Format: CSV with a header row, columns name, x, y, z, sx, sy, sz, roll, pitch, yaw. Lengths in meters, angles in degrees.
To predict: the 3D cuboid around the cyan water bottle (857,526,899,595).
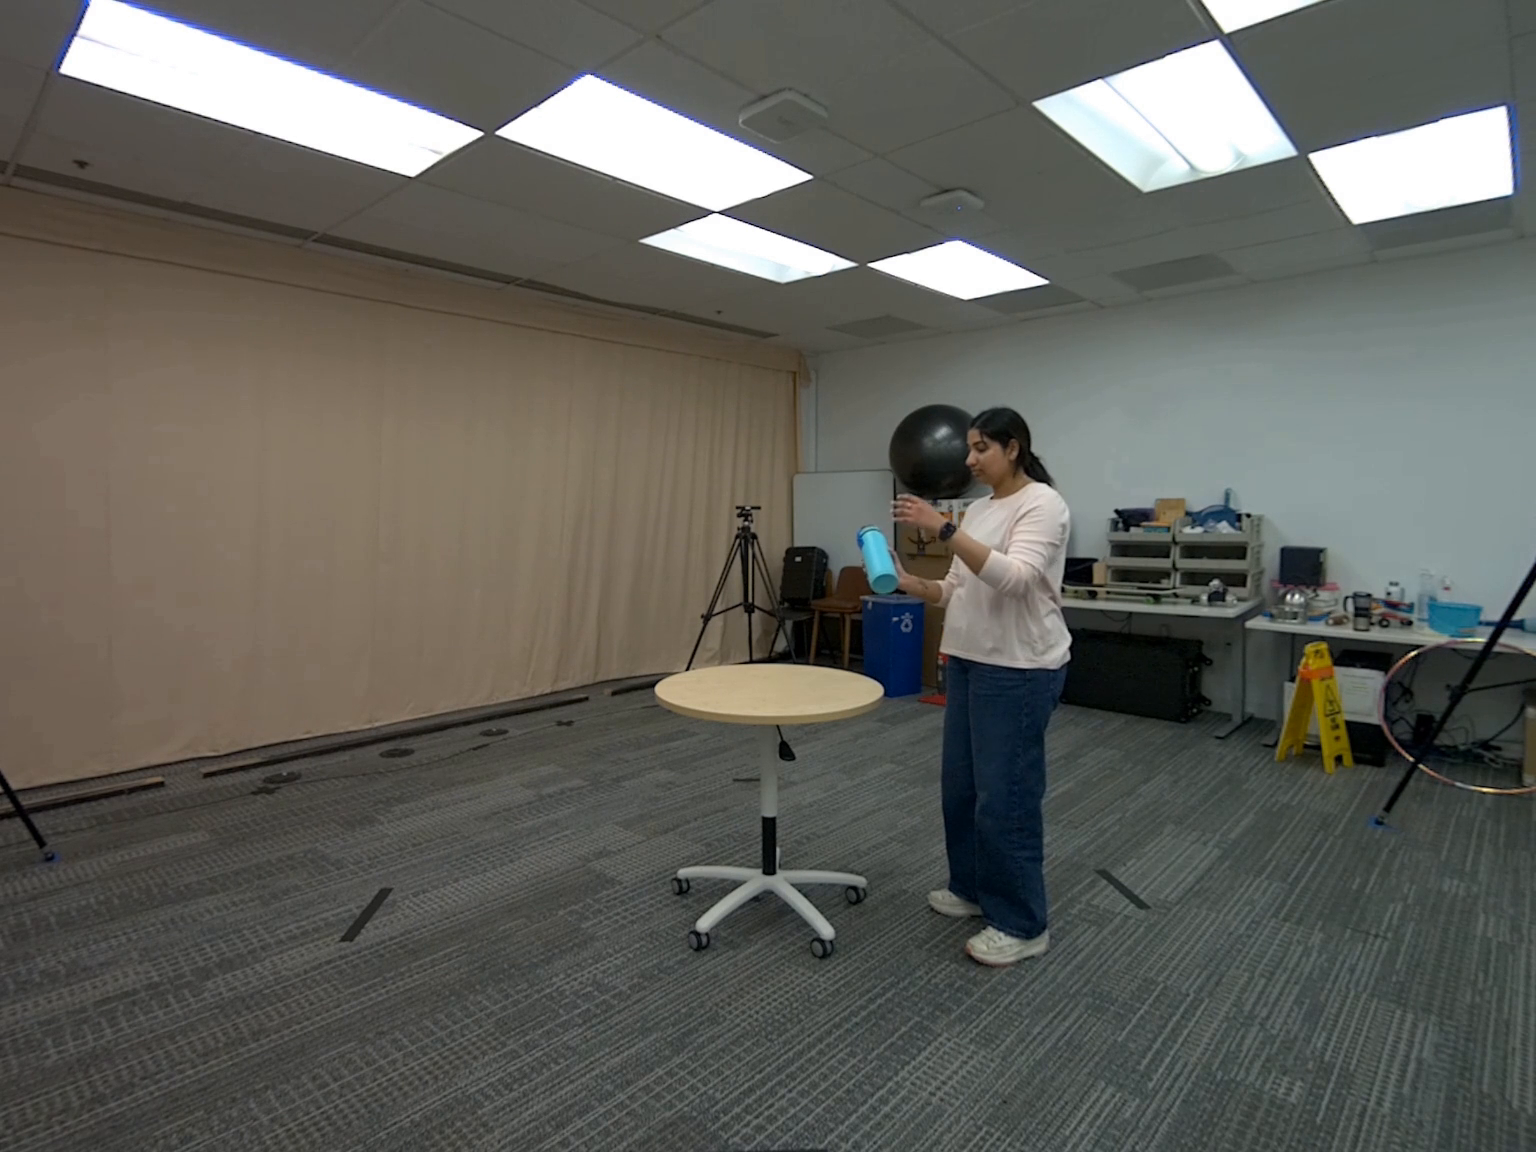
name,x,y,z,sx,sy,sz,roll,pitch,yaw
cyan water bottle,0.366,-0.066,2.756,0.092,0.091,0.289,-1,40,-5
